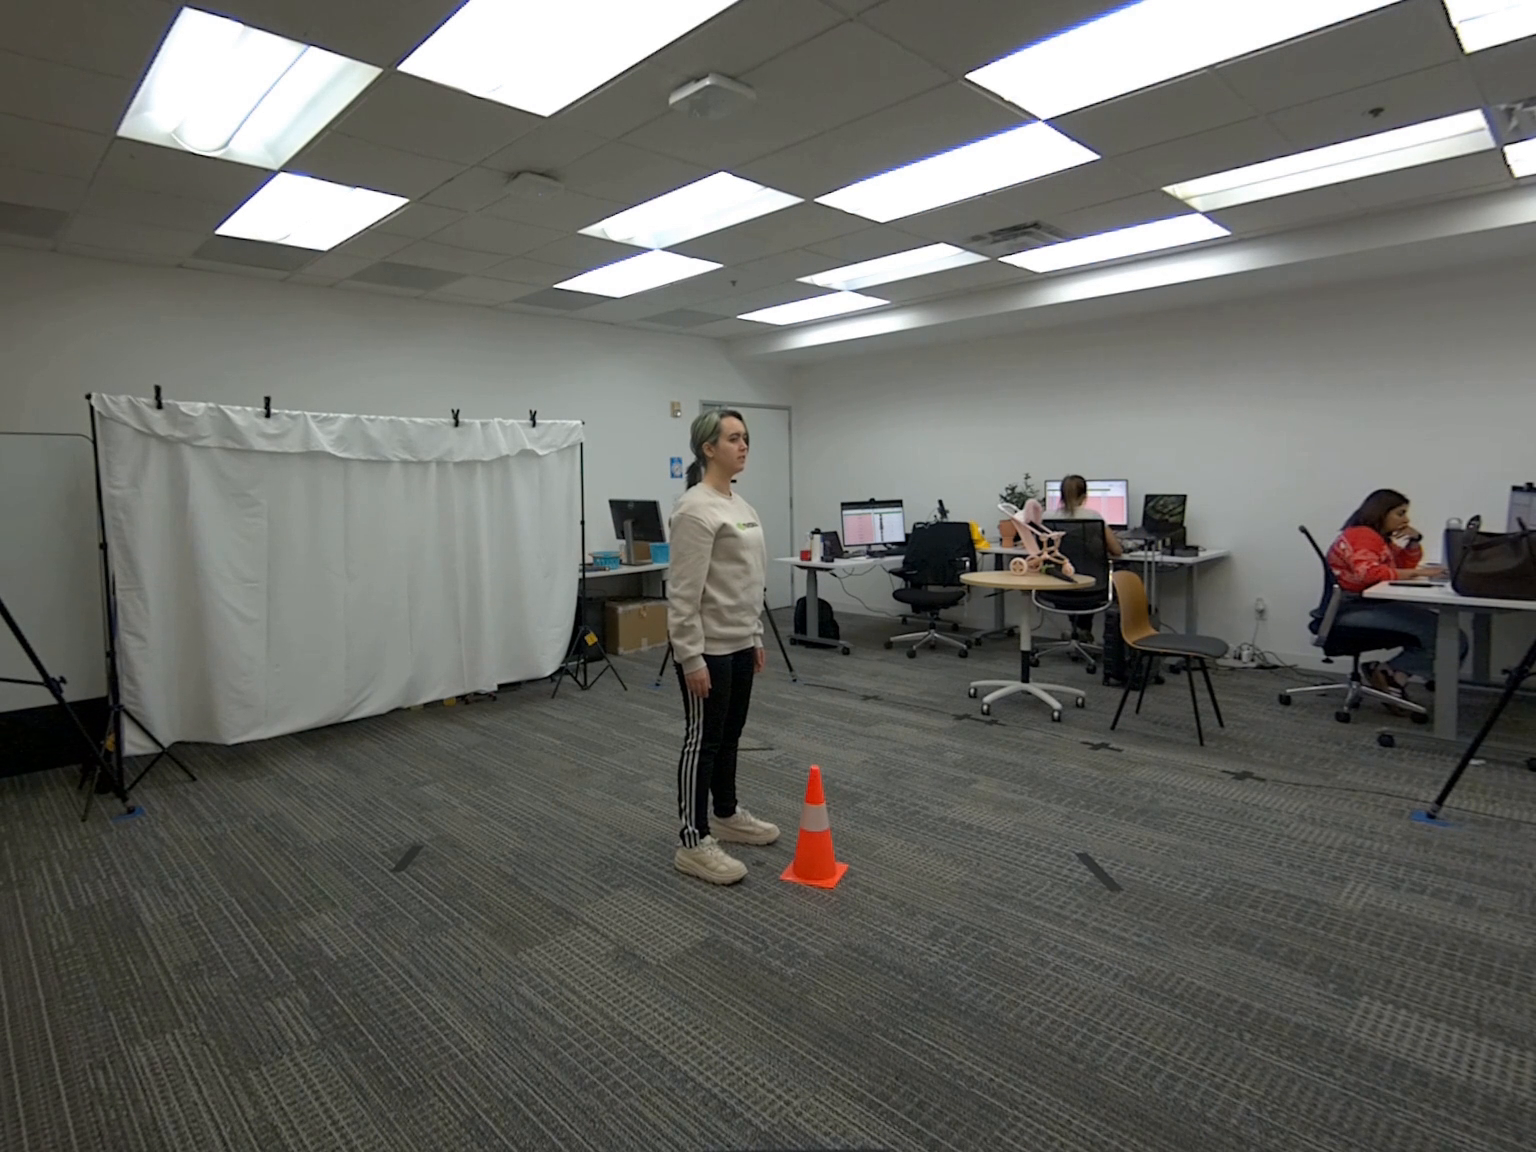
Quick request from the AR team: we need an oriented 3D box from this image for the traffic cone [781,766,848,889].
[{"bbox_3d":[0.160,0.864,3.019,0.208,0.382,0.201,0,5,25],"label":"traffic cone"}]
